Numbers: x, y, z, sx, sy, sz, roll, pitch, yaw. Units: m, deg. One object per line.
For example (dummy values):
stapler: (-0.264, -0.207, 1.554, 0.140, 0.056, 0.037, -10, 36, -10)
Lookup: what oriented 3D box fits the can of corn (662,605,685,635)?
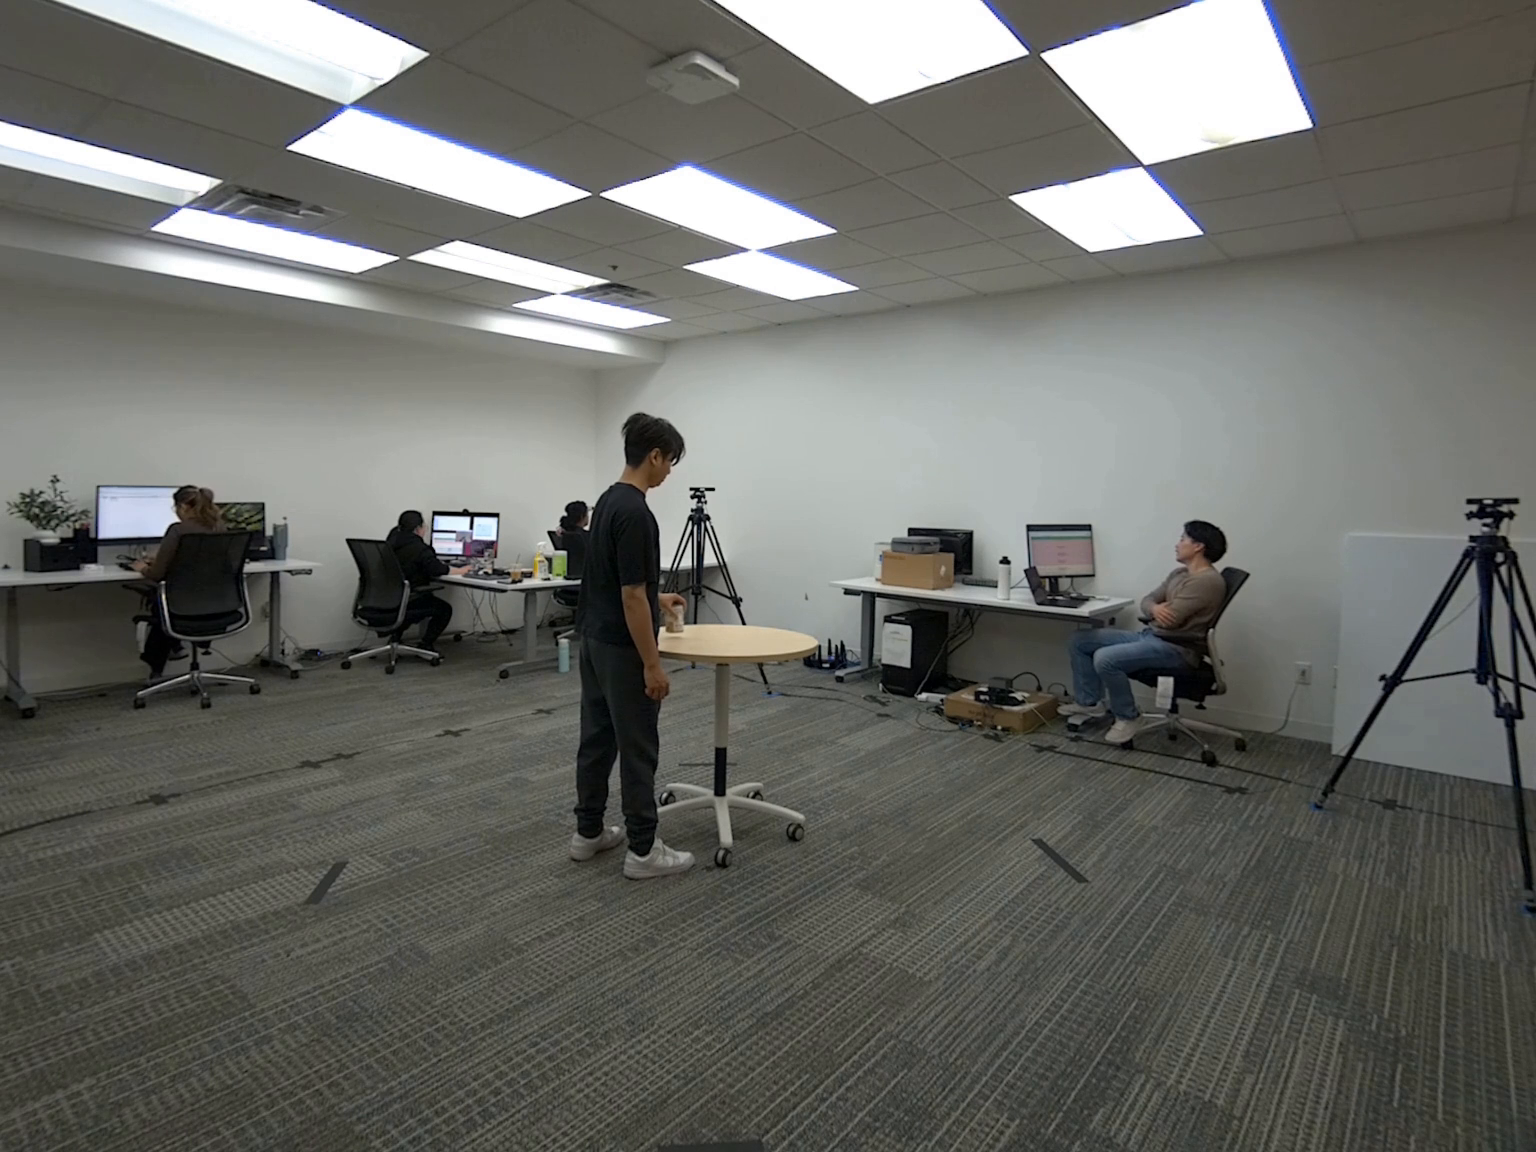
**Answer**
can of corn: (-0.396, 0.169, 3.449, 0.074, 0.111, 0.074, -3, 1, -2)
